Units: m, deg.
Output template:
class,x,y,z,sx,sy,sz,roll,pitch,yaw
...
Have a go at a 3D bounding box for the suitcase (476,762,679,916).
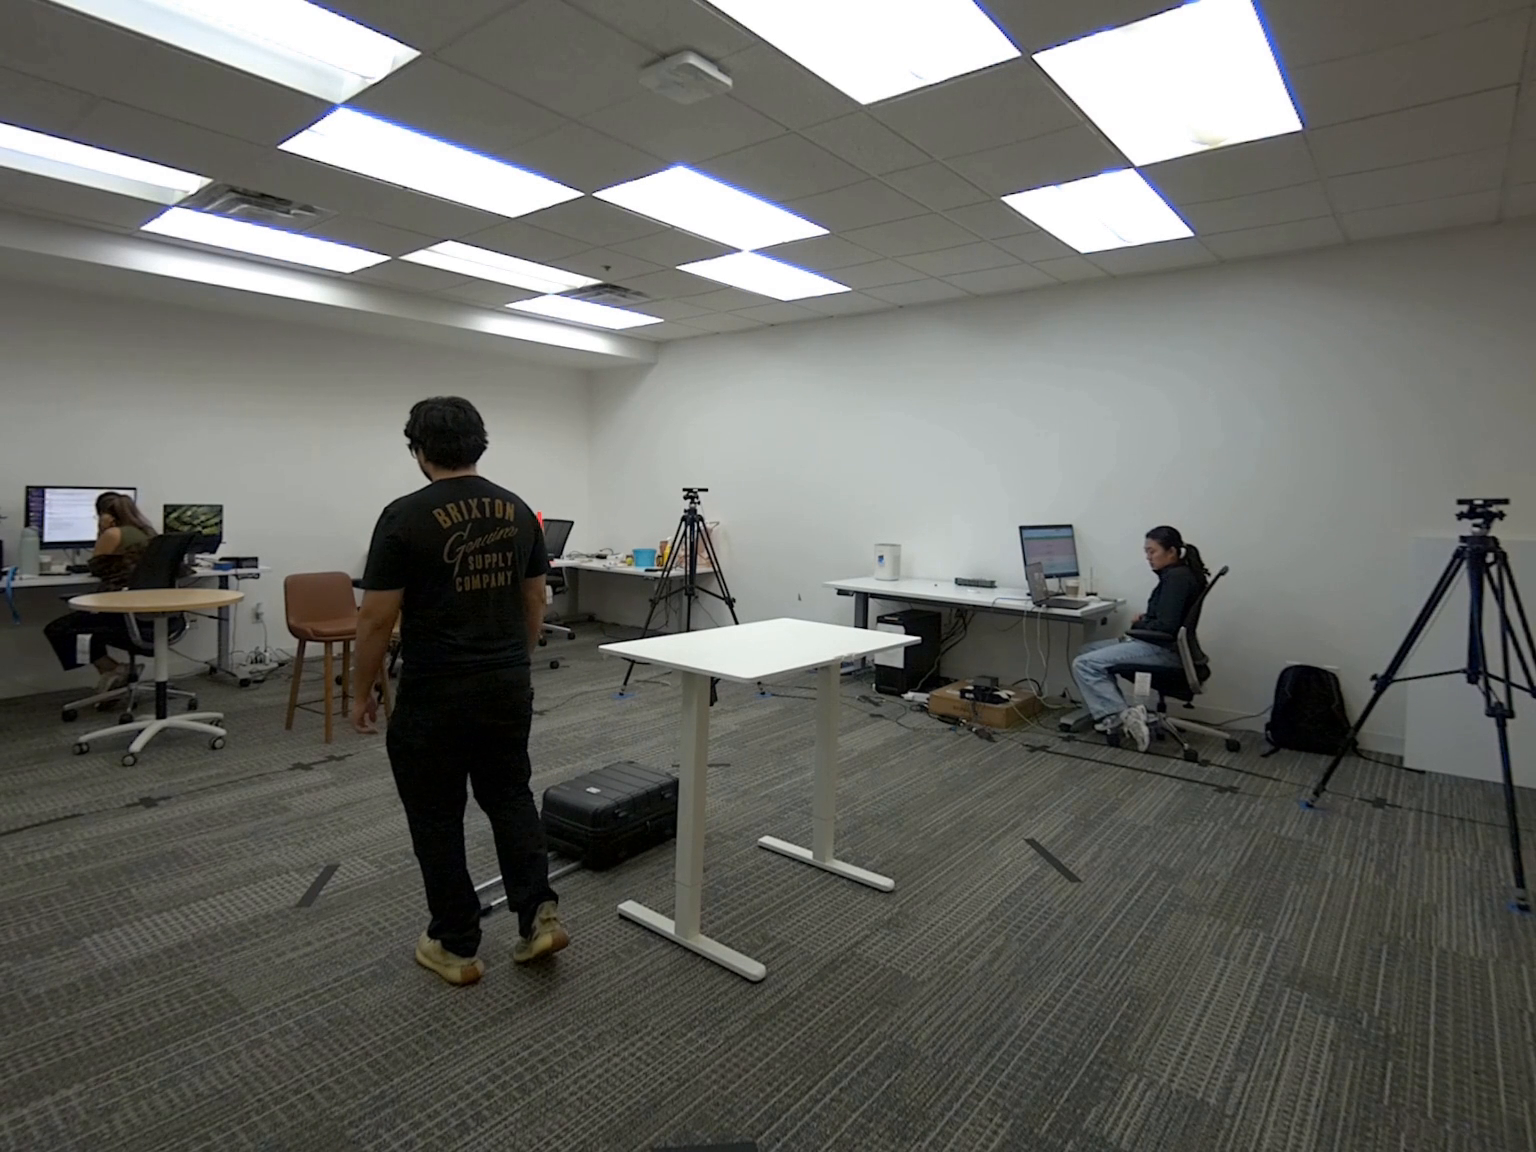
class,x,y,z,sx,sy,sz,roll,pitch,yaw
suitcase,-0.723,0.930,3.165,0.396,0.256,0.950,5,6,34
